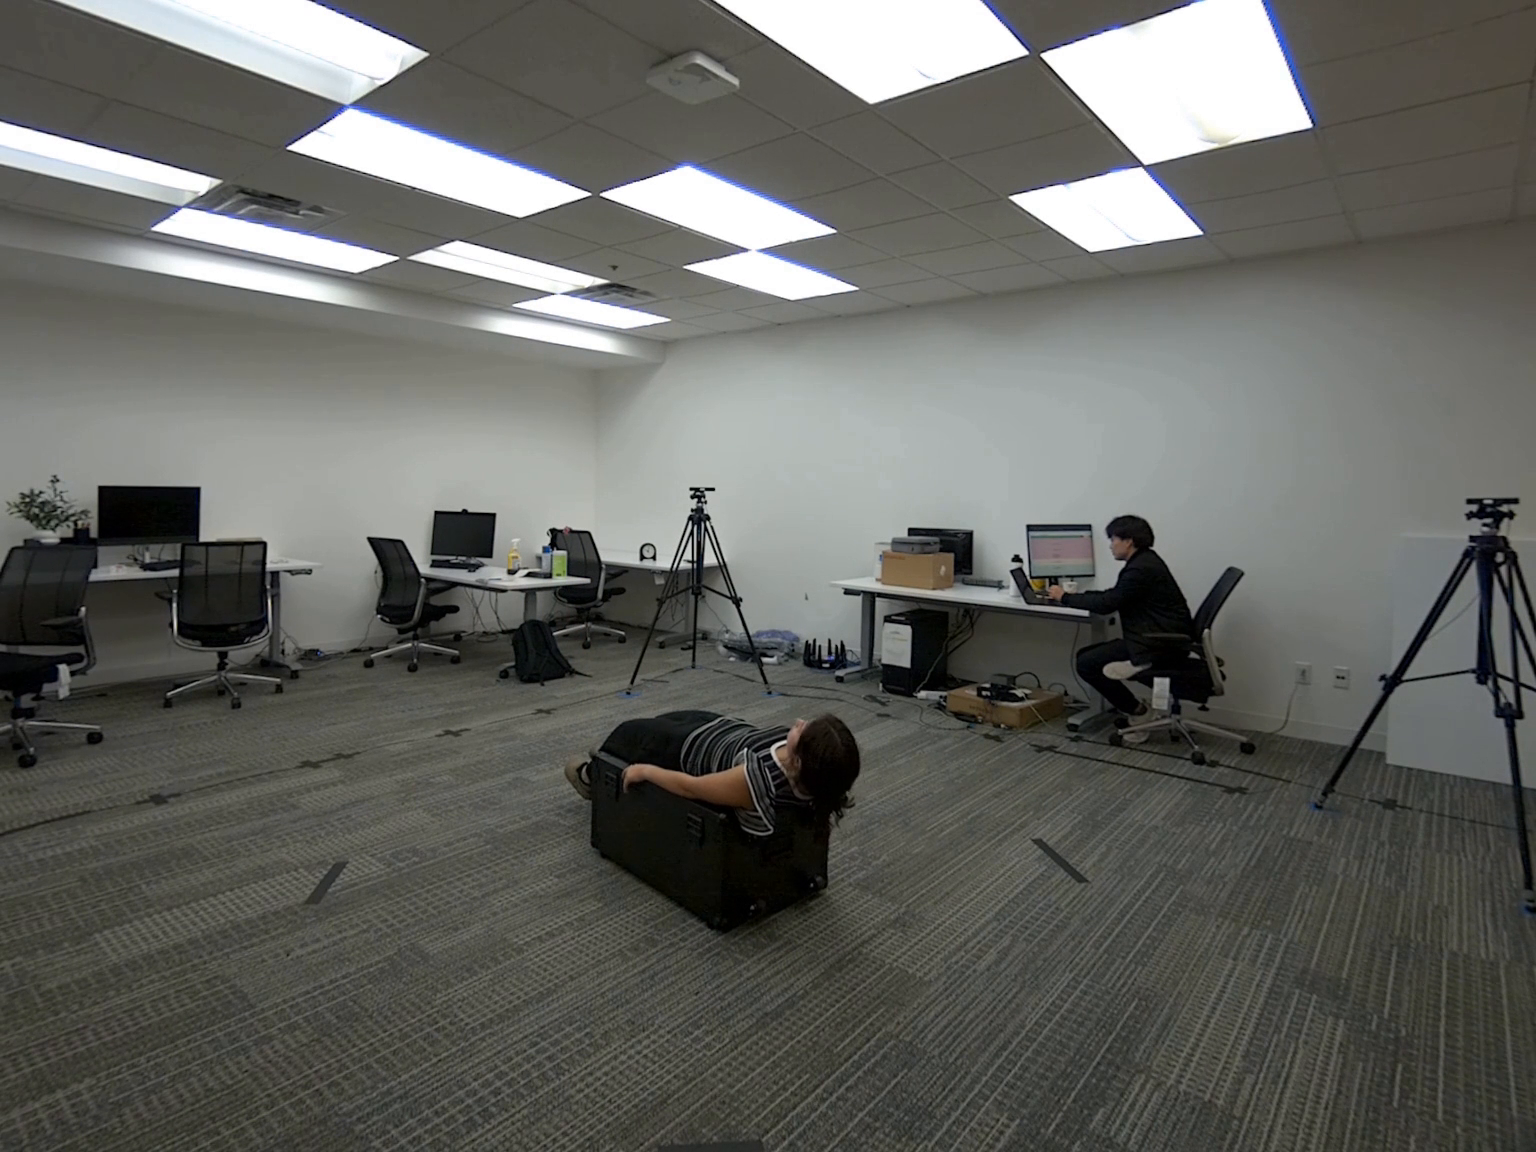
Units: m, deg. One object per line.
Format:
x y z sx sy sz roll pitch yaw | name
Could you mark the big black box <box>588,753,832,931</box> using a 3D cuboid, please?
-0.214 0.891 3.044 0.505 0.395 0.891 -1 4 -41 | big black box
